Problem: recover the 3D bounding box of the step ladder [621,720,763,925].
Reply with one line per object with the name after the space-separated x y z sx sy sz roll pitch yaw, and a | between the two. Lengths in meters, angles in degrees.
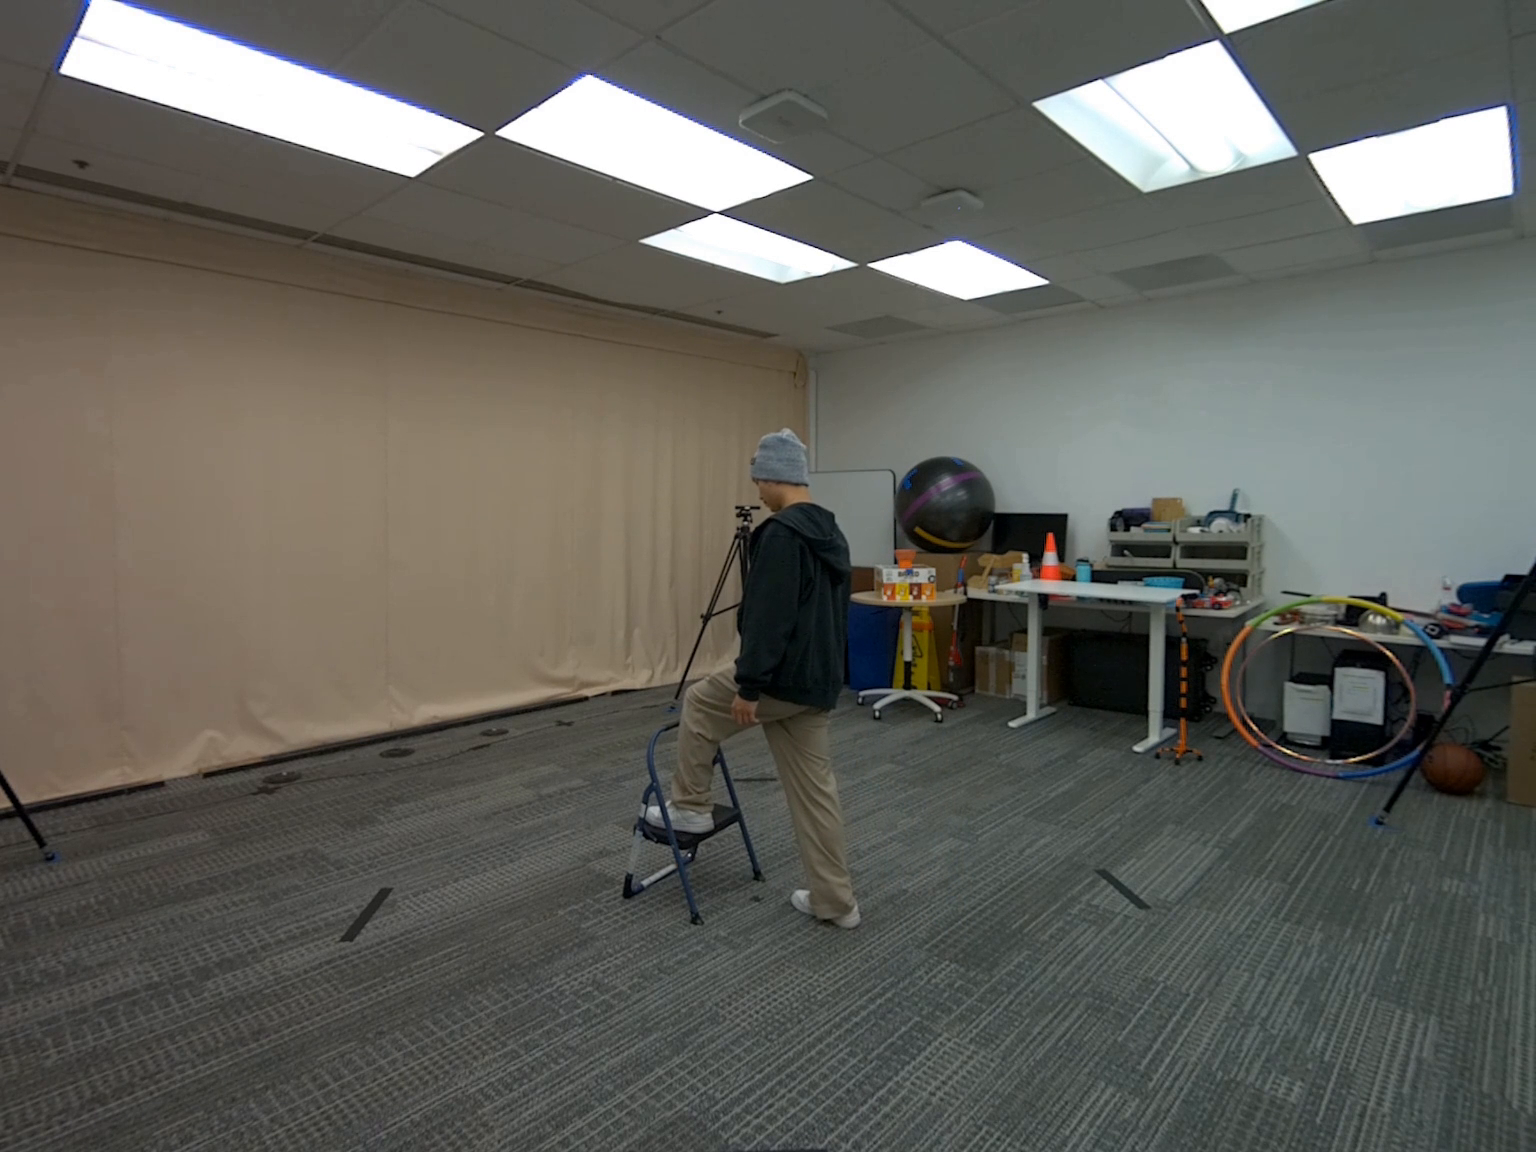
-0.269 0.838 3.056 0.360 0.605 0.418 1 4 33 | step ladder
